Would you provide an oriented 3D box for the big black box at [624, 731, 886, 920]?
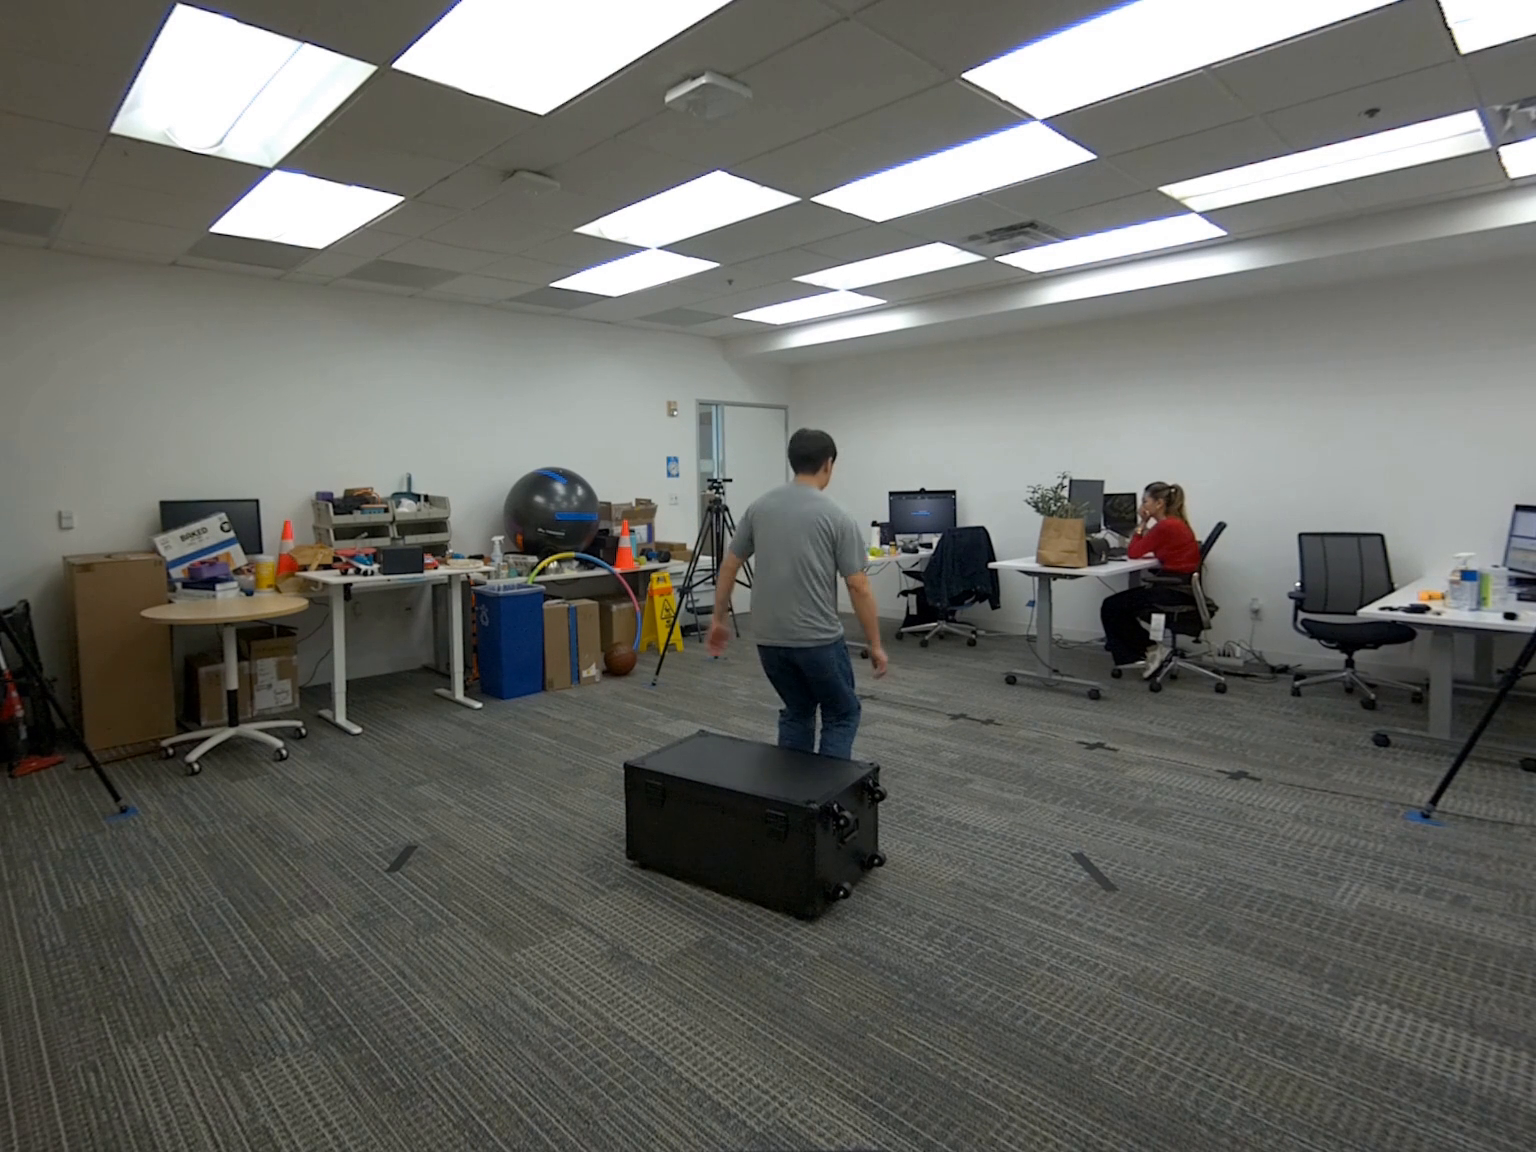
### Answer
[{"bbox_3d":[-0.033,0.858,3.050,0.885,0.395,0.509,2,6,33],"label":"big black box"}]
